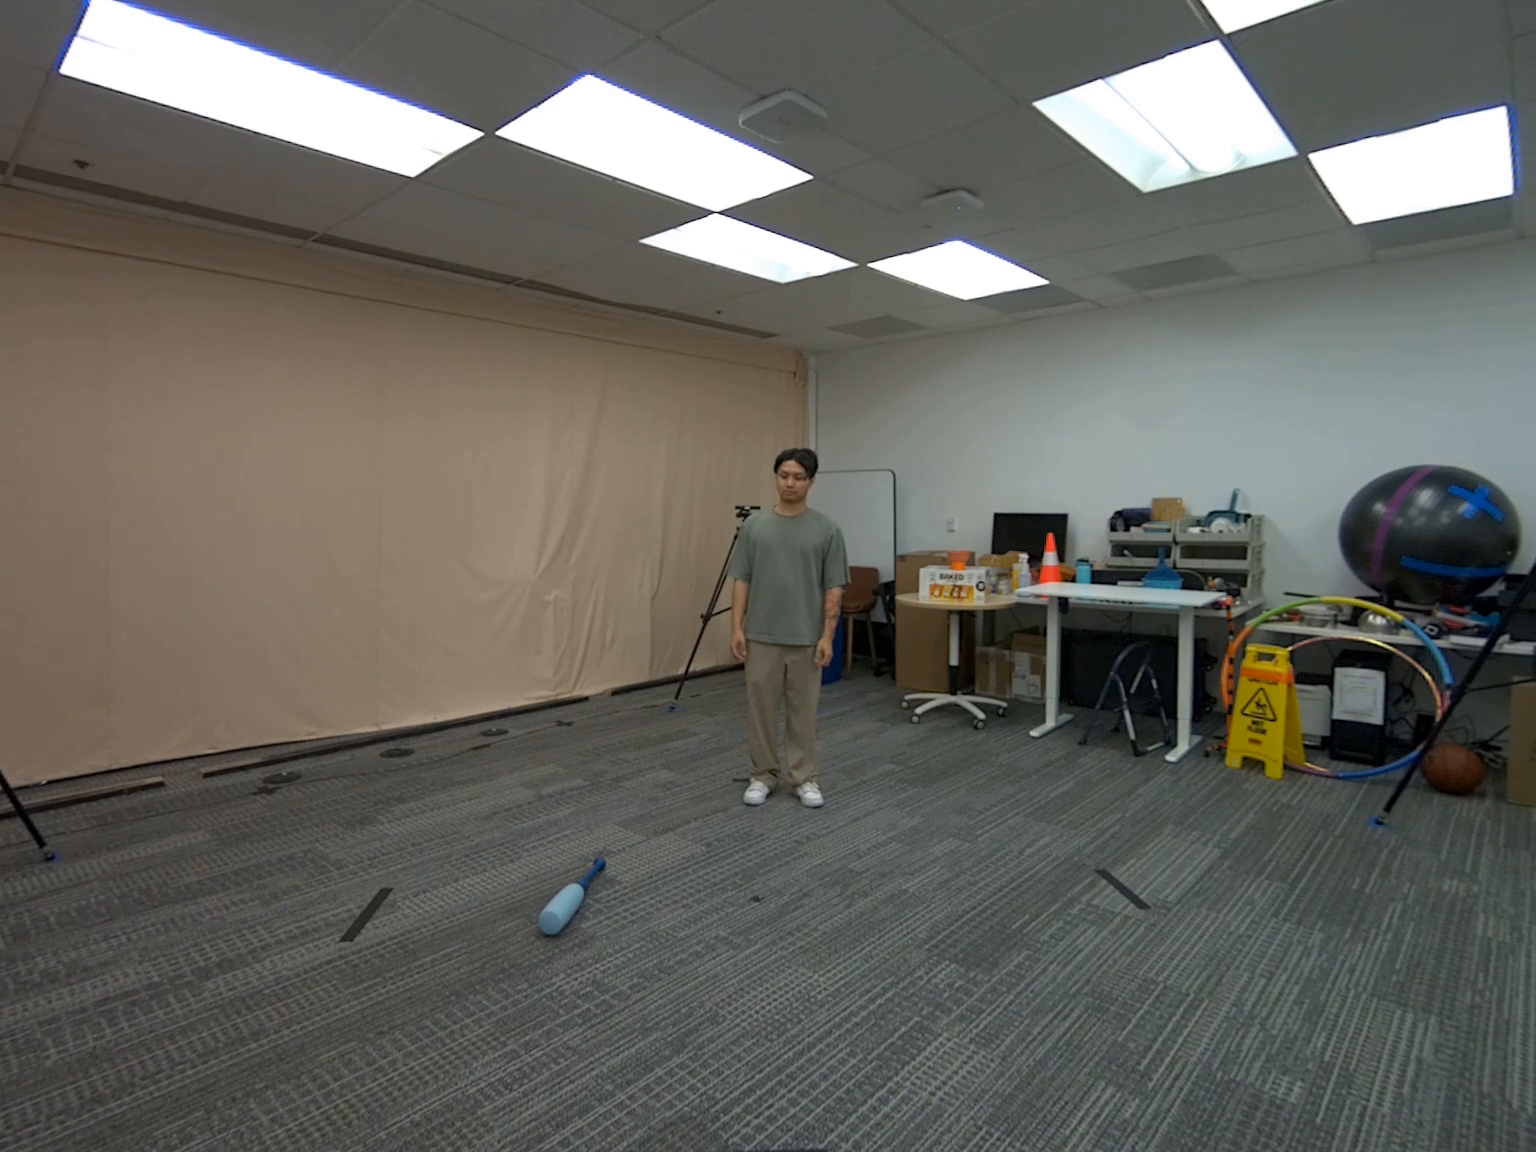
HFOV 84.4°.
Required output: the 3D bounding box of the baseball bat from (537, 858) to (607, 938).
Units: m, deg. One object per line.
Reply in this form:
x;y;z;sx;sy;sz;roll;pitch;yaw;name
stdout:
-0.677;1.112;2.971;0.090;0.089;0.539;1;2;6;baseball bat
